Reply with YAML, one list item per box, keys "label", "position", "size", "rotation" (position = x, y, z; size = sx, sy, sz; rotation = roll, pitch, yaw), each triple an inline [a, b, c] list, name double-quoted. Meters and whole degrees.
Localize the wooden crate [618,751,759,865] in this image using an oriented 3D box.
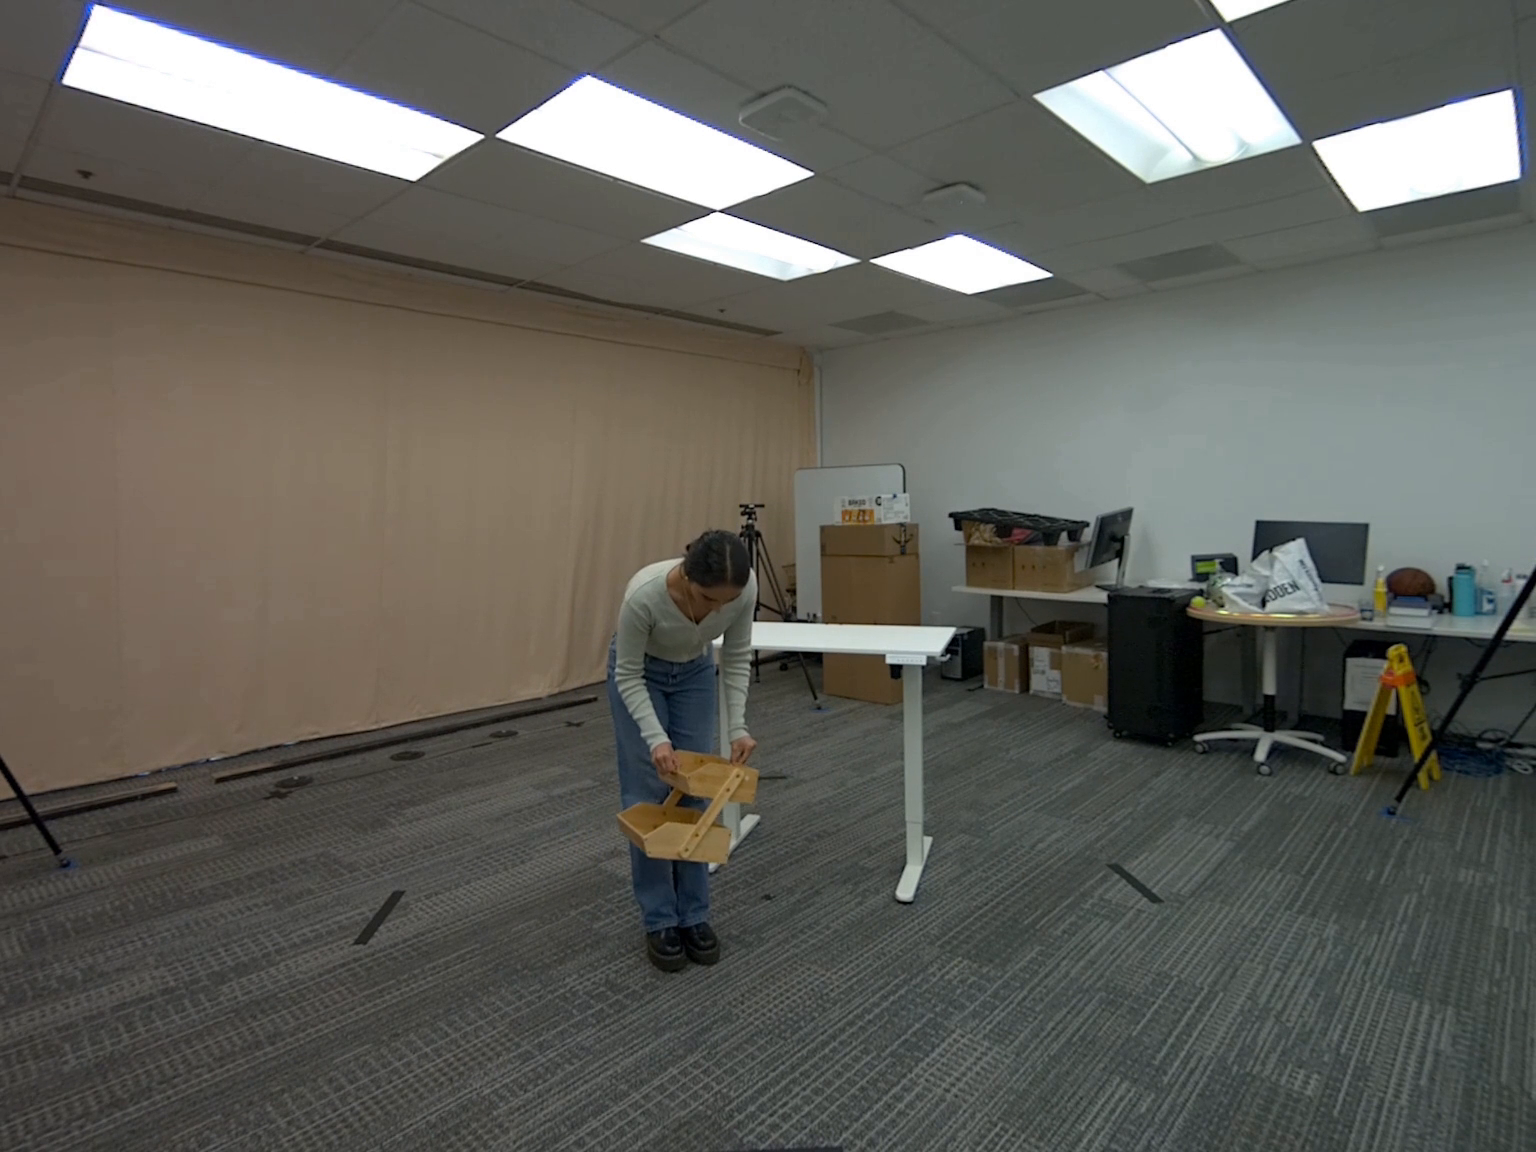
- label: "wooden crate"
  position: [-0.245, 0.649, 2.439]
  size: [0.296, 0.274, 0.330]
  rotation: [11, -8, -19]
